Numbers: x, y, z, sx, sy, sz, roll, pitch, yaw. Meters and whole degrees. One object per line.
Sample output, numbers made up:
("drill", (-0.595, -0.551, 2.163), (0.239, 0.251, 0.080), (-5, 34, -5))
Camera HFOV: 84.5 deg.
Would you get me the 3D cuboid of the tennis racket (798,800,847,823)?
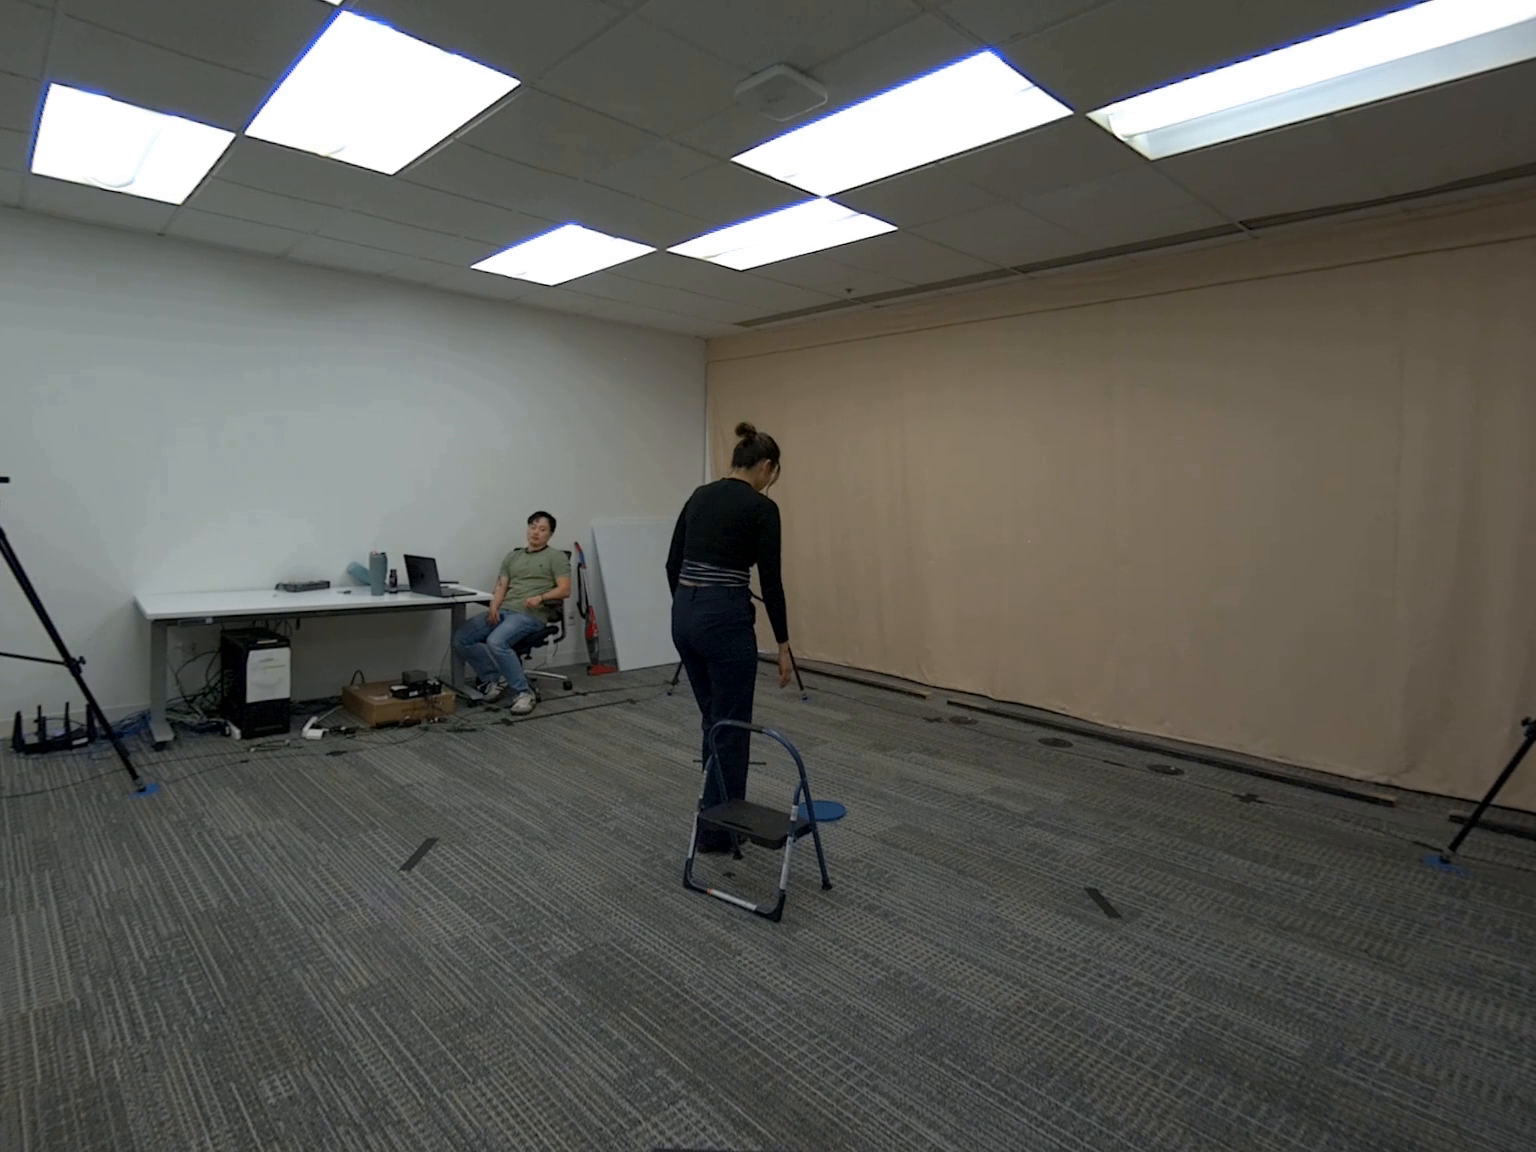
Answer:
("tennis racket", (0.183, 1.042, 3.687), (0.218, 0.032, 0.425), (4, 5, 28))
